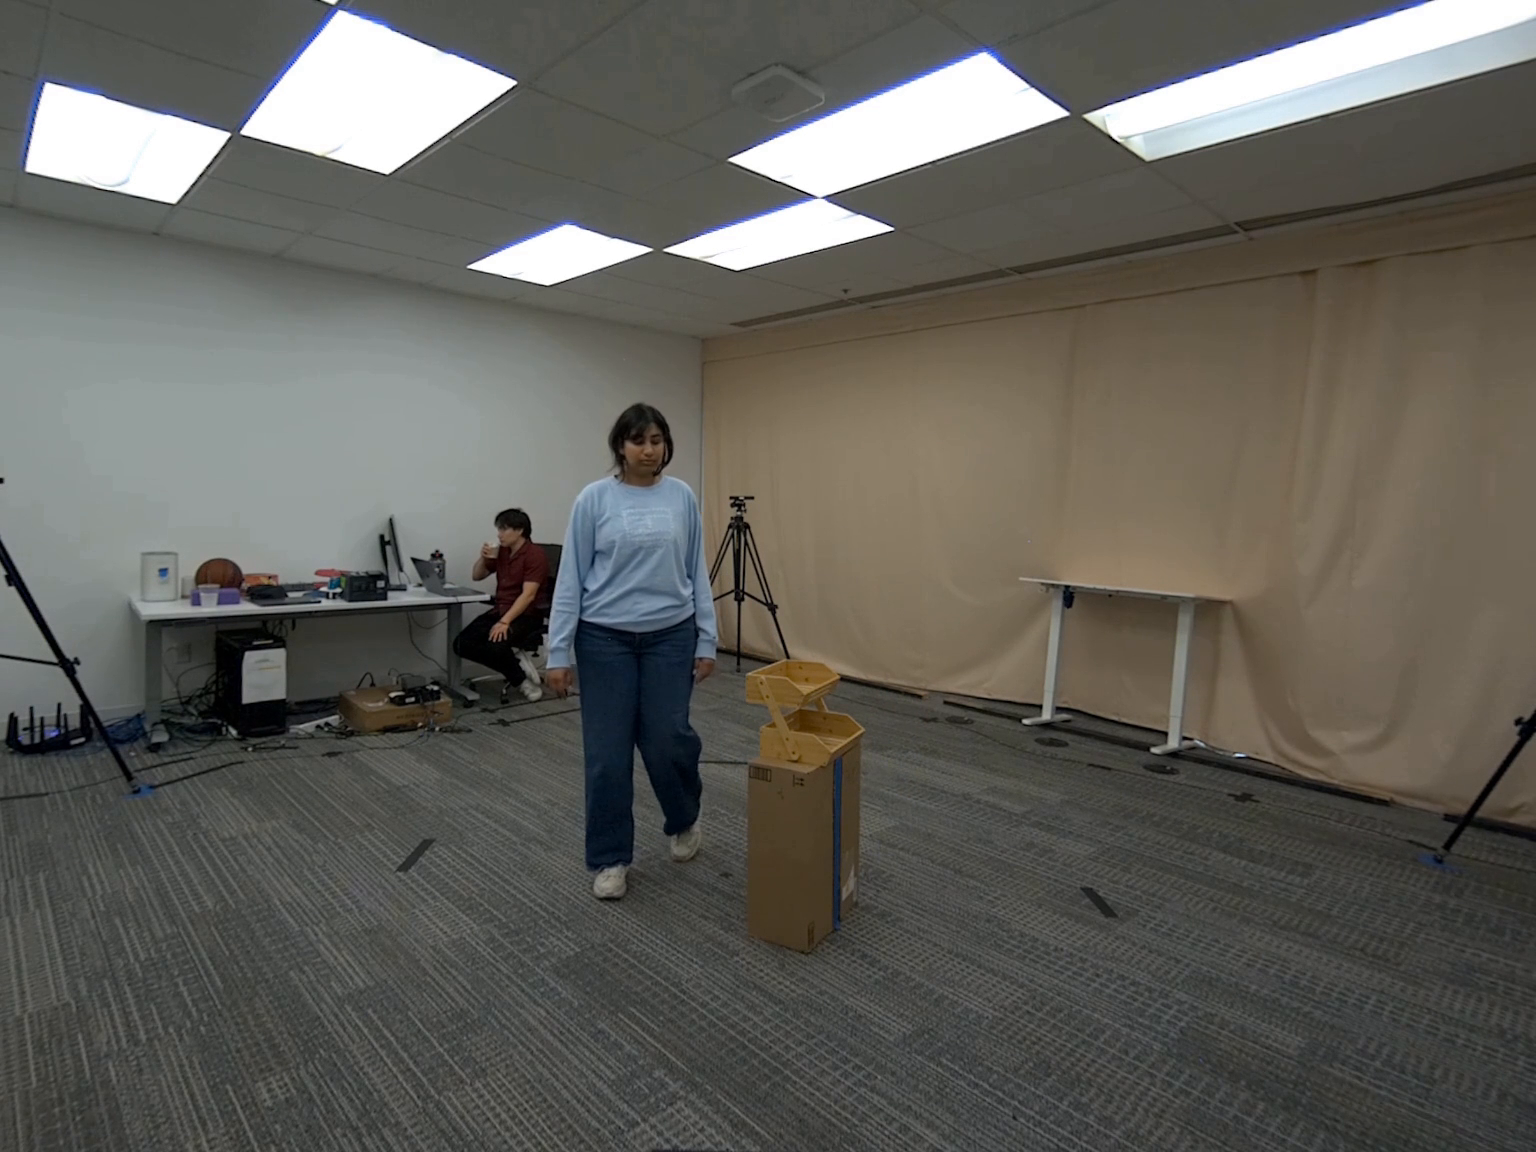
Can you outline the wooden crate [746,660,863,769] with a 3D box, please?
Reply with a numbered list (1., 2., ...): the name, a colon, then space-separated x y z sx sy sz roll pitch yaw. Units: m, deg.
1. wooden crate: 0.124 0.440 2.787 0.308 0.273 0.318 2 4 28
